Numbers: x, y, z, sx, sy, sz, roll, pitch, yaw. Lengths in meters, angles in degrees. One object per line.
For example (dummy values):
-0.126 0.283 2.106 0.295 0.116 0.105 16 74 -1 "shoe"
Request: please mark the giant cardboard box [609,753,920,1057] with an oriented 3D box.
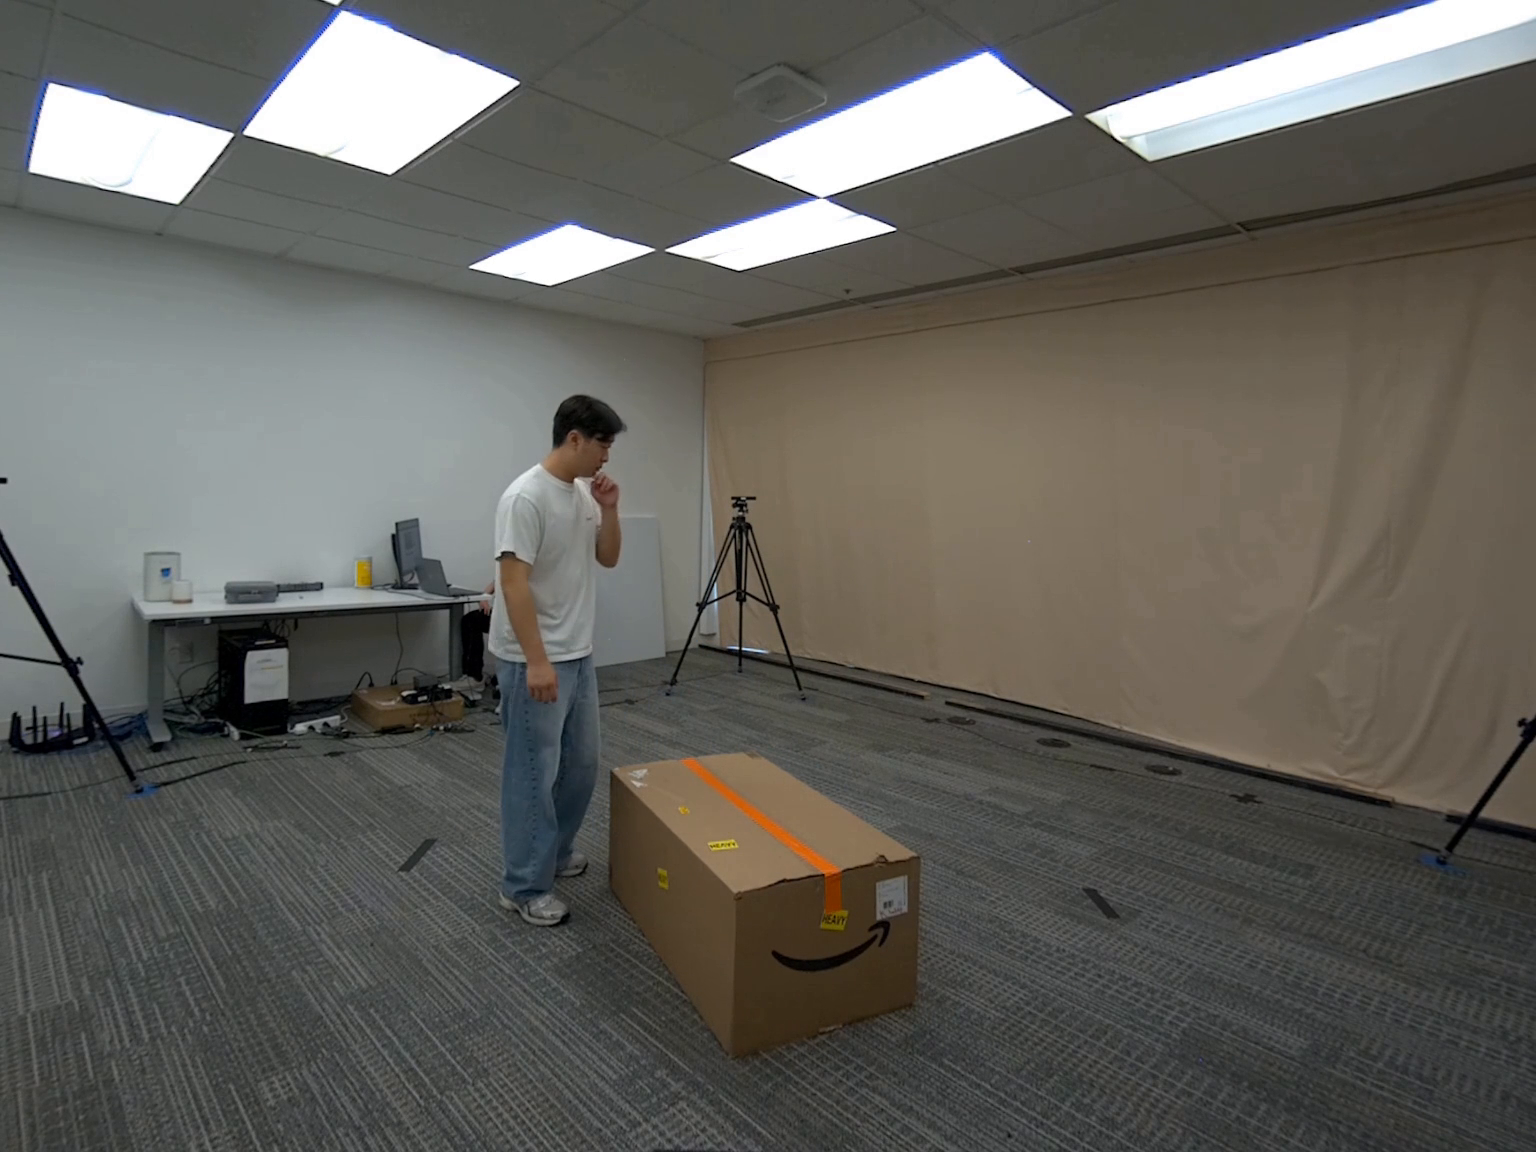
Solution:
-0.074 0.937 2.654 0.567 0.425 1.048 -1 6 -27 "giant cardboard box"
